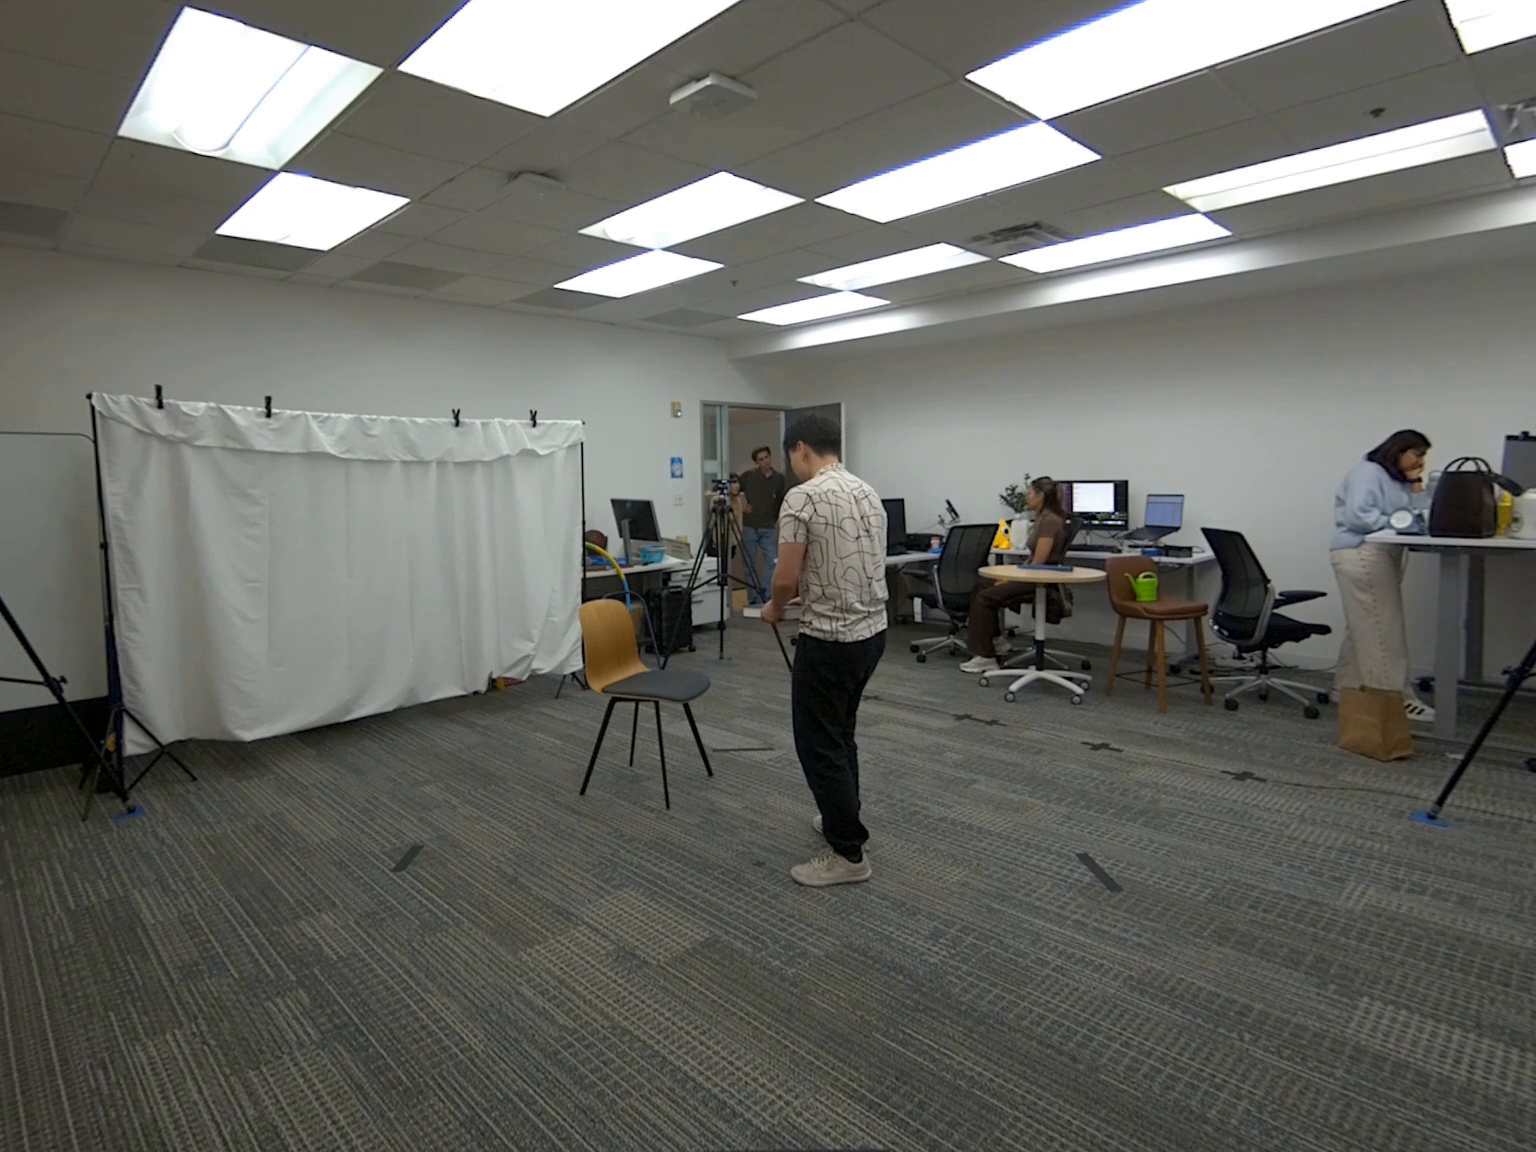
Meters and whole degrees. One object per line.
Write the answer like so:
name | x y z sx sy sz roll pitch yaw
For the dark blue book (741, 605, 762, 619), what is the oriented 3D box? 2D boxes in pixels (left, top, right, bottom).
dark blue book | 0.051 0.136 3.342 0.159 0.045 0.253 -2 7 -44
